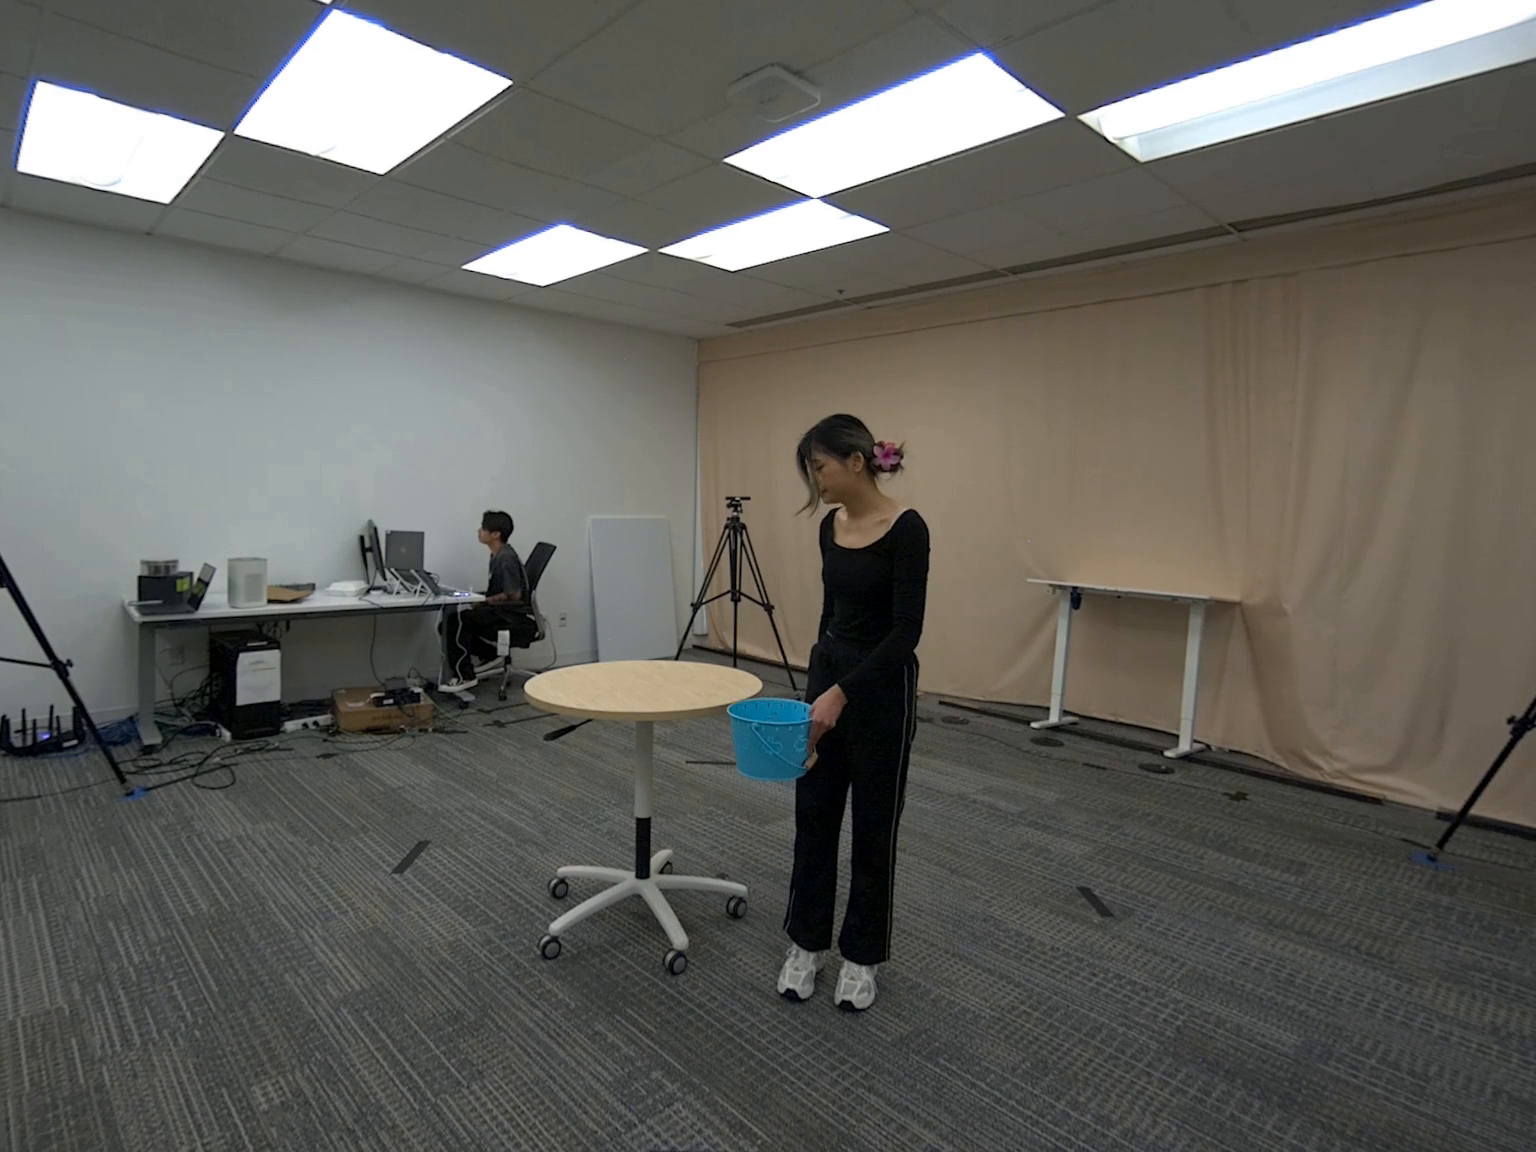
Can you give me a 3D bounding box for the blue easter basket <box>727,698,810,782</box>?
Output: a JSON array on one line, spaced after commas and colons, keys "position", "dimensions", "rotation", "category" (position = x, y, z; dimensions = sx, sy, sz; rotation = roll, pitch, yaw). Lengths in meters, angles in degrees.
[{"position": [0.015, 0.415, 2.135], "dimensions": [0.243, 0.155, 0.244], "rotation": [3, 5, -2], "category": "blue easter basket"}]
